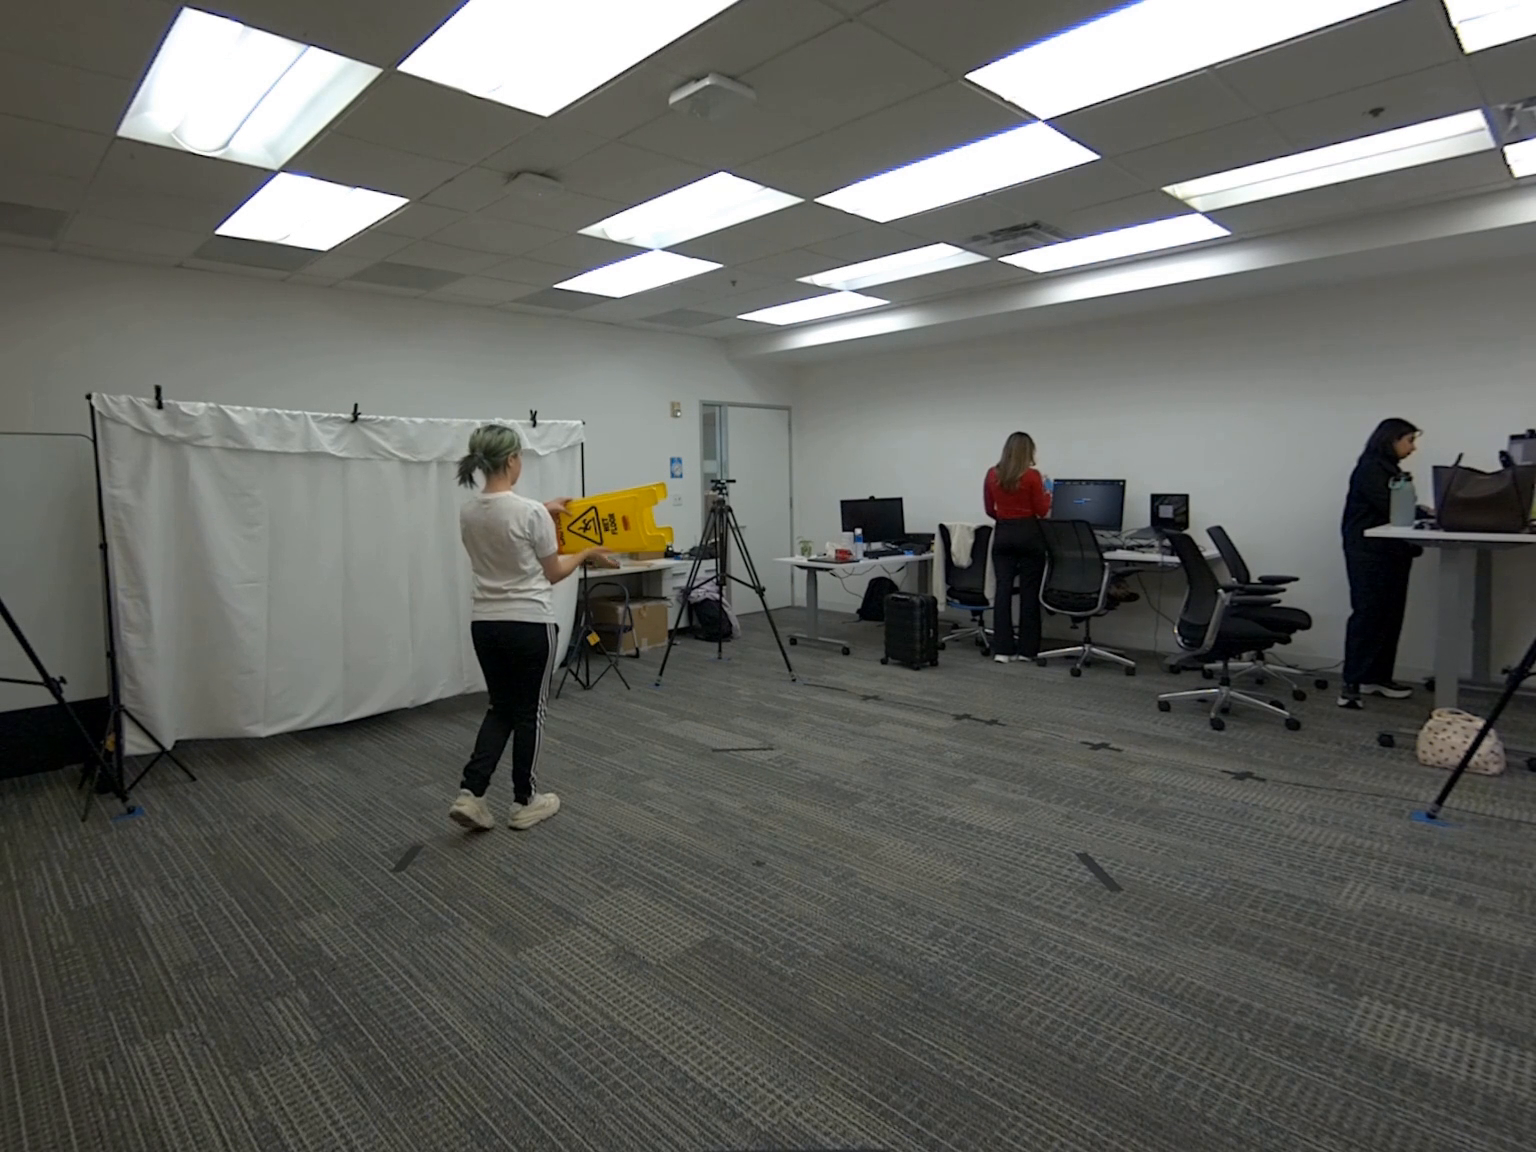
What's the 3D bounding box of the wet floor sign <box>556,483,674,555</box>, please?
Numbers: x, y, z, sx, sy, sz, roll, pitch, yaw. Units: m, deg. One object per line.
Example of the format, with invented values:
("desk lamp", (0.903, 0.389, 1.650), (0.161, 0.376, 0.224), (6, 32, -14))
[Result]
("wet floor sign", (-0.776, -0.222, 3.812), (0.650, 0.279, 0.291), (-7, 11, 7))
